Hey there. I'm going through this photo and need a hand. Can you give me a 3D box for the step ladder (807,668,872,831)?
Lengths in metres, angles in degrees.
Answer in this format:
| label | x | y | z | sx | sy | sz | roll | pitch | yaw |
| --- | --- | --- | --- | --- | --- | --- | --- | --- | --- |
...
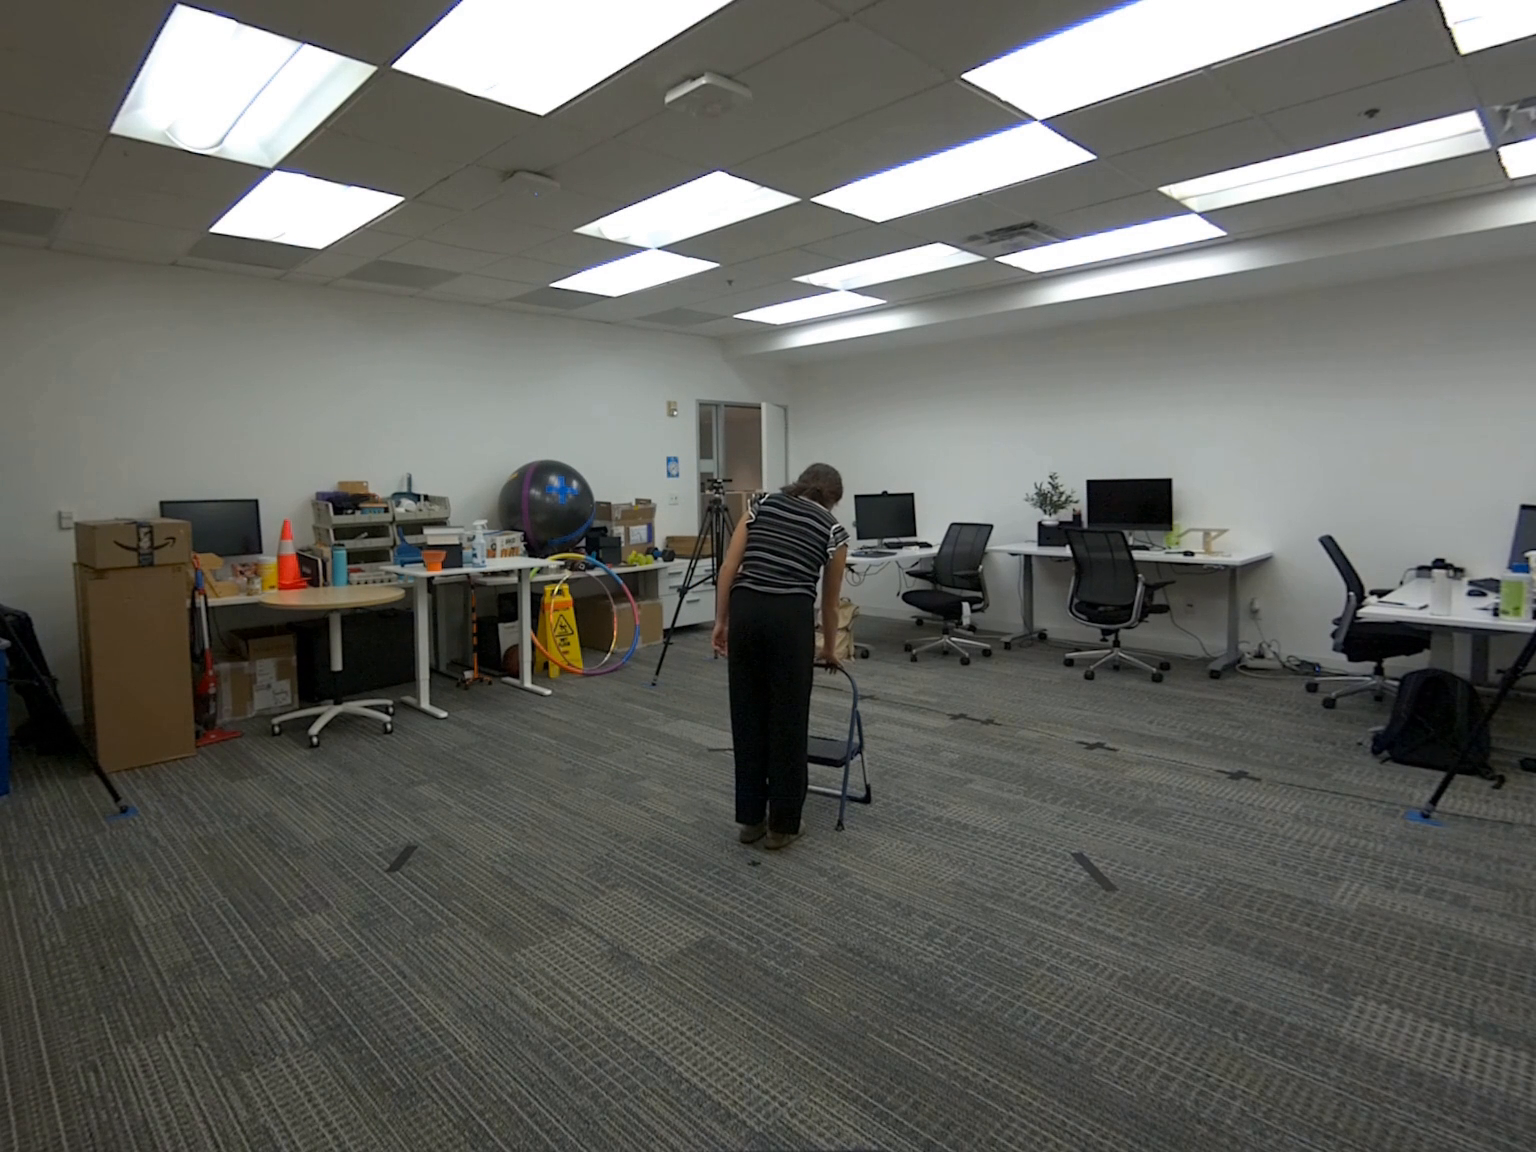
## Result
| label | x | y | z | sx | sy | sz | roll | pitch | yaw |
| --- | --- | --- | --- | --- | --- | --- | --- | --- | --- |
| step ladder | 0.185 | 0.681 | 3.617 | 0.442 | 0.604 | 0.341 | 2 | 5 | 30 |
